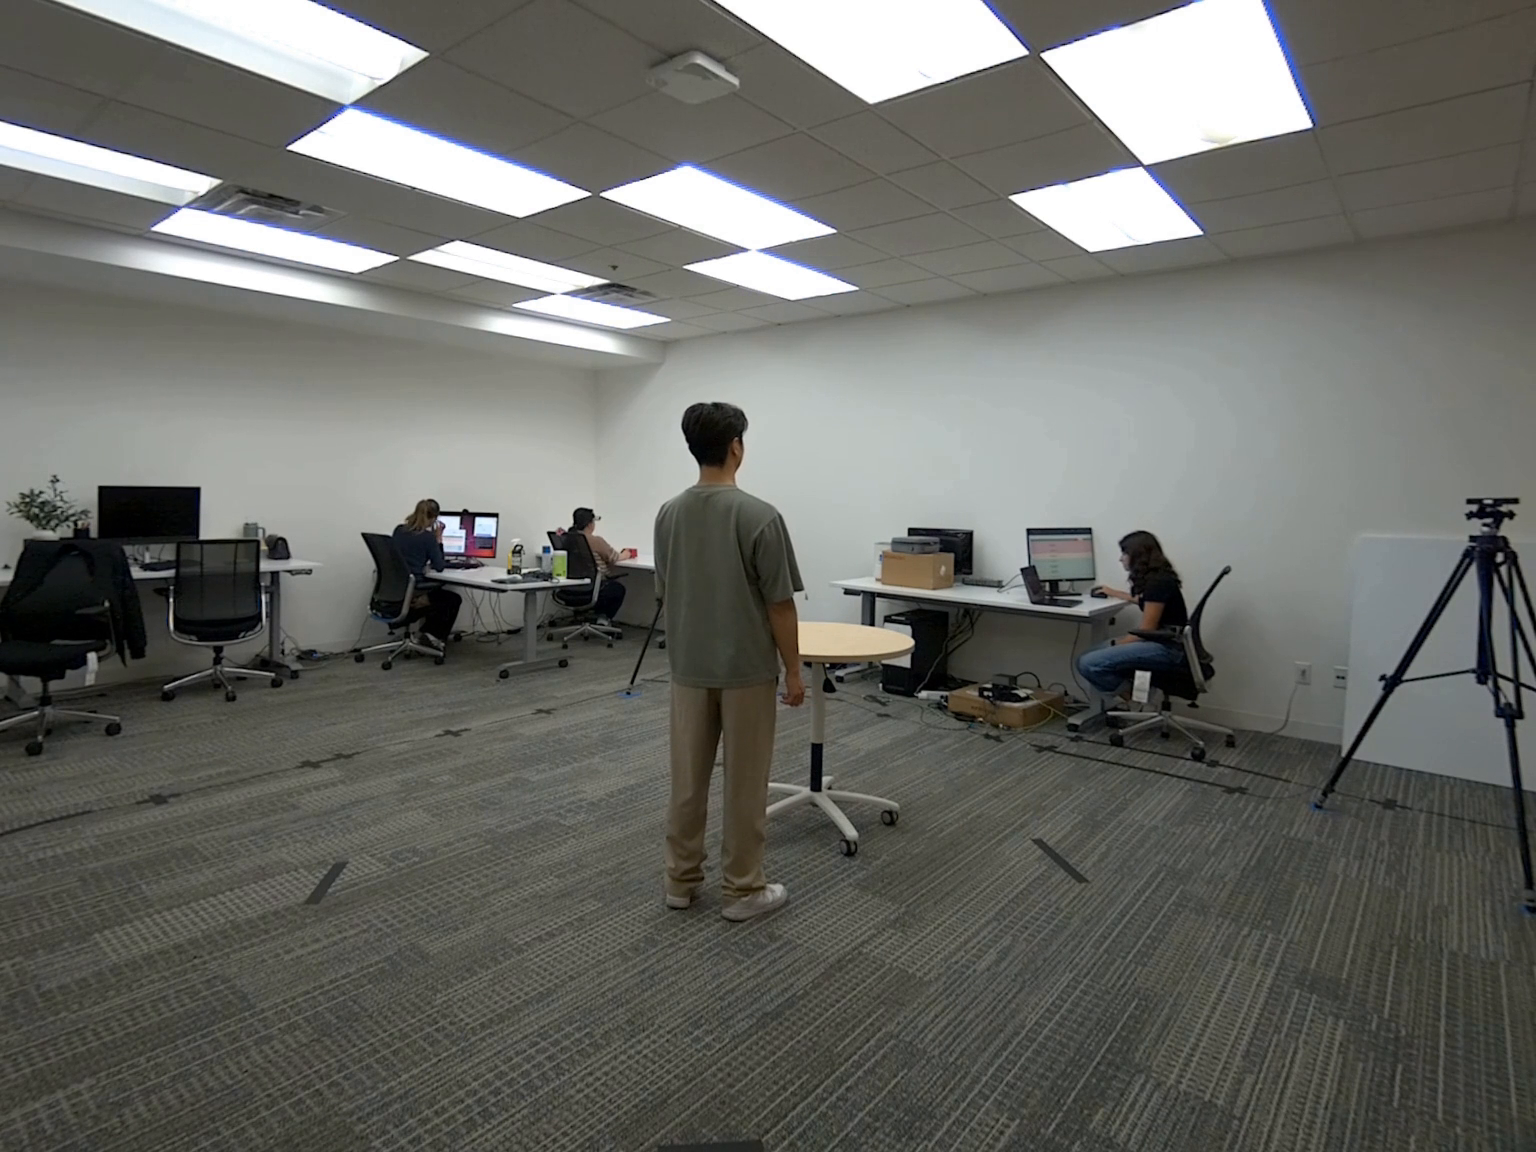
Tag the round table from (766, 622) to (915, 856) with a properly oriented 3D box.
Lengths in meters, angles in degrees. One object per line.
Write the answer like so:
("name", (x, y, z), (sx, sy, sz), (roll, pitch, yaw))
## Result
("round table", (0.201, 0.635, 3.546), (0.784, 0.783, 0.790), (1, 5, -2))
